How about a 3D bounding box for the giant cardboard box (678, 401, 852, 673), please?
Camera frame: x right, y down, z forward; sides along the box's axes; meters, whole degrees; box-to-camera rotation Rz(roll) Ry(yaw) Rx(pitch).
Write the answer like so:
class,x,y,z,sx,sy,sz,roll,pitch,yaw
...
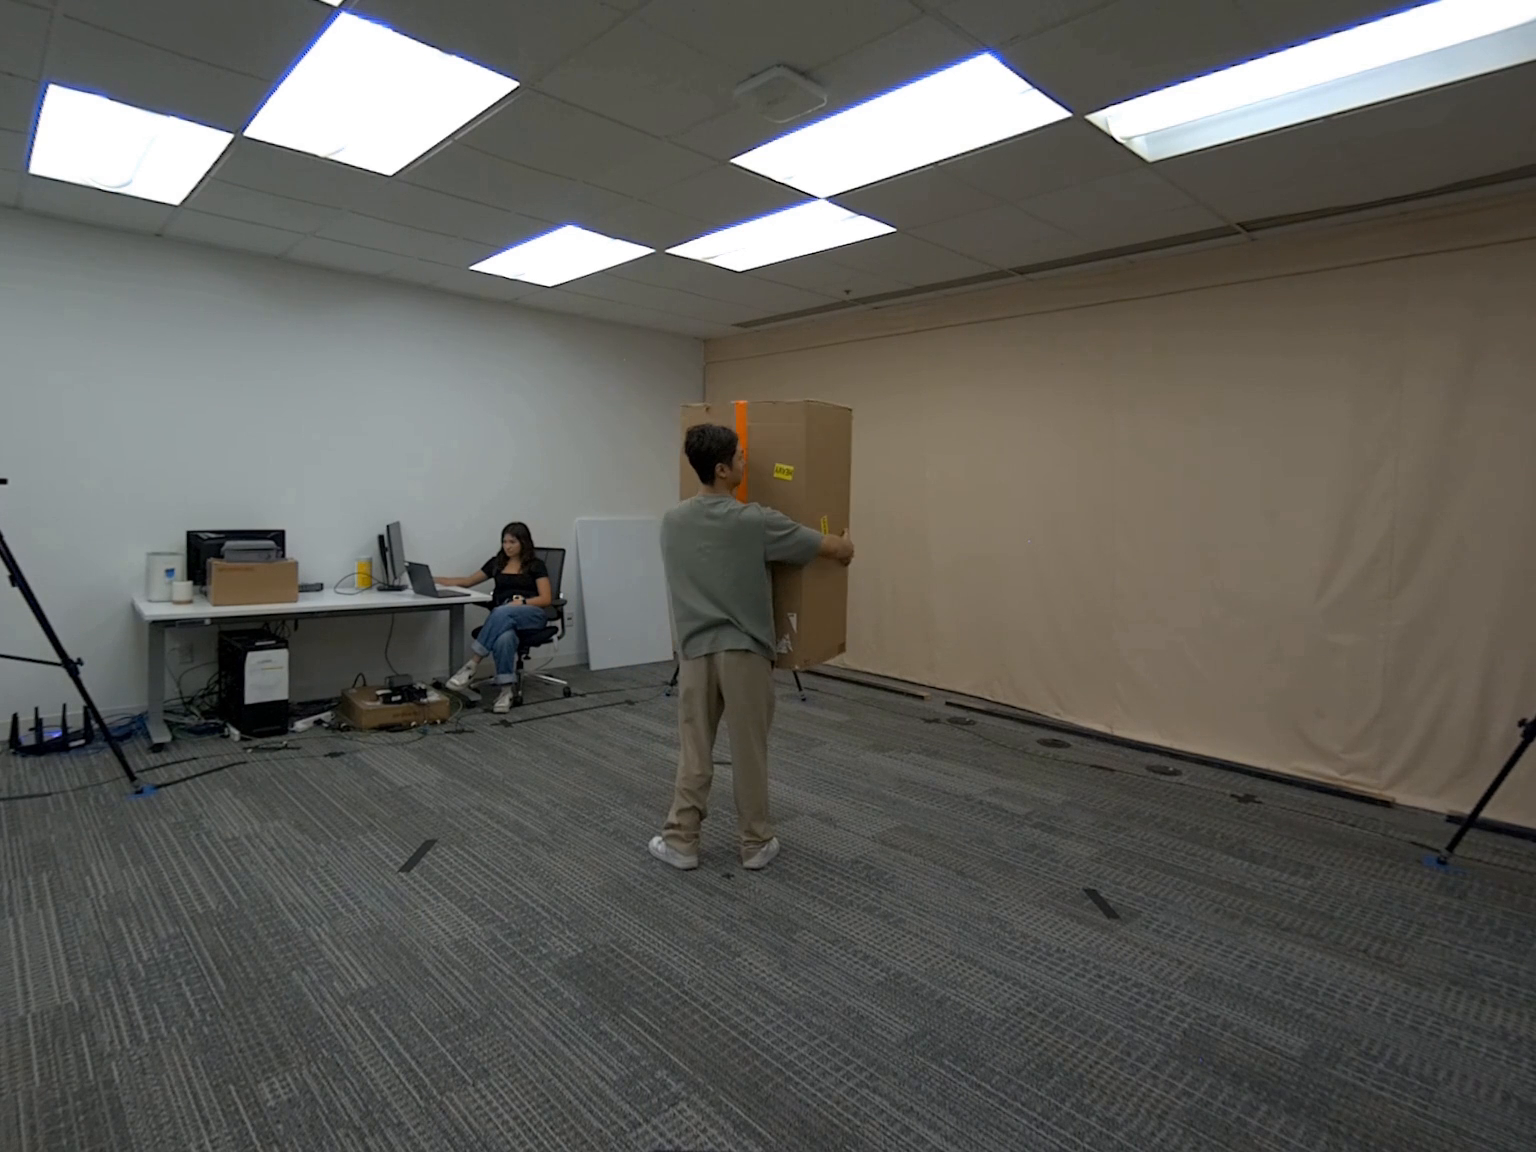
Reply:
class,x,y,z,sx,sy,sz,roll,pitch,yaw
giant cardboard box,-0.019,-0.187,3.455,0.590,1.022,0.418,4,6,30
